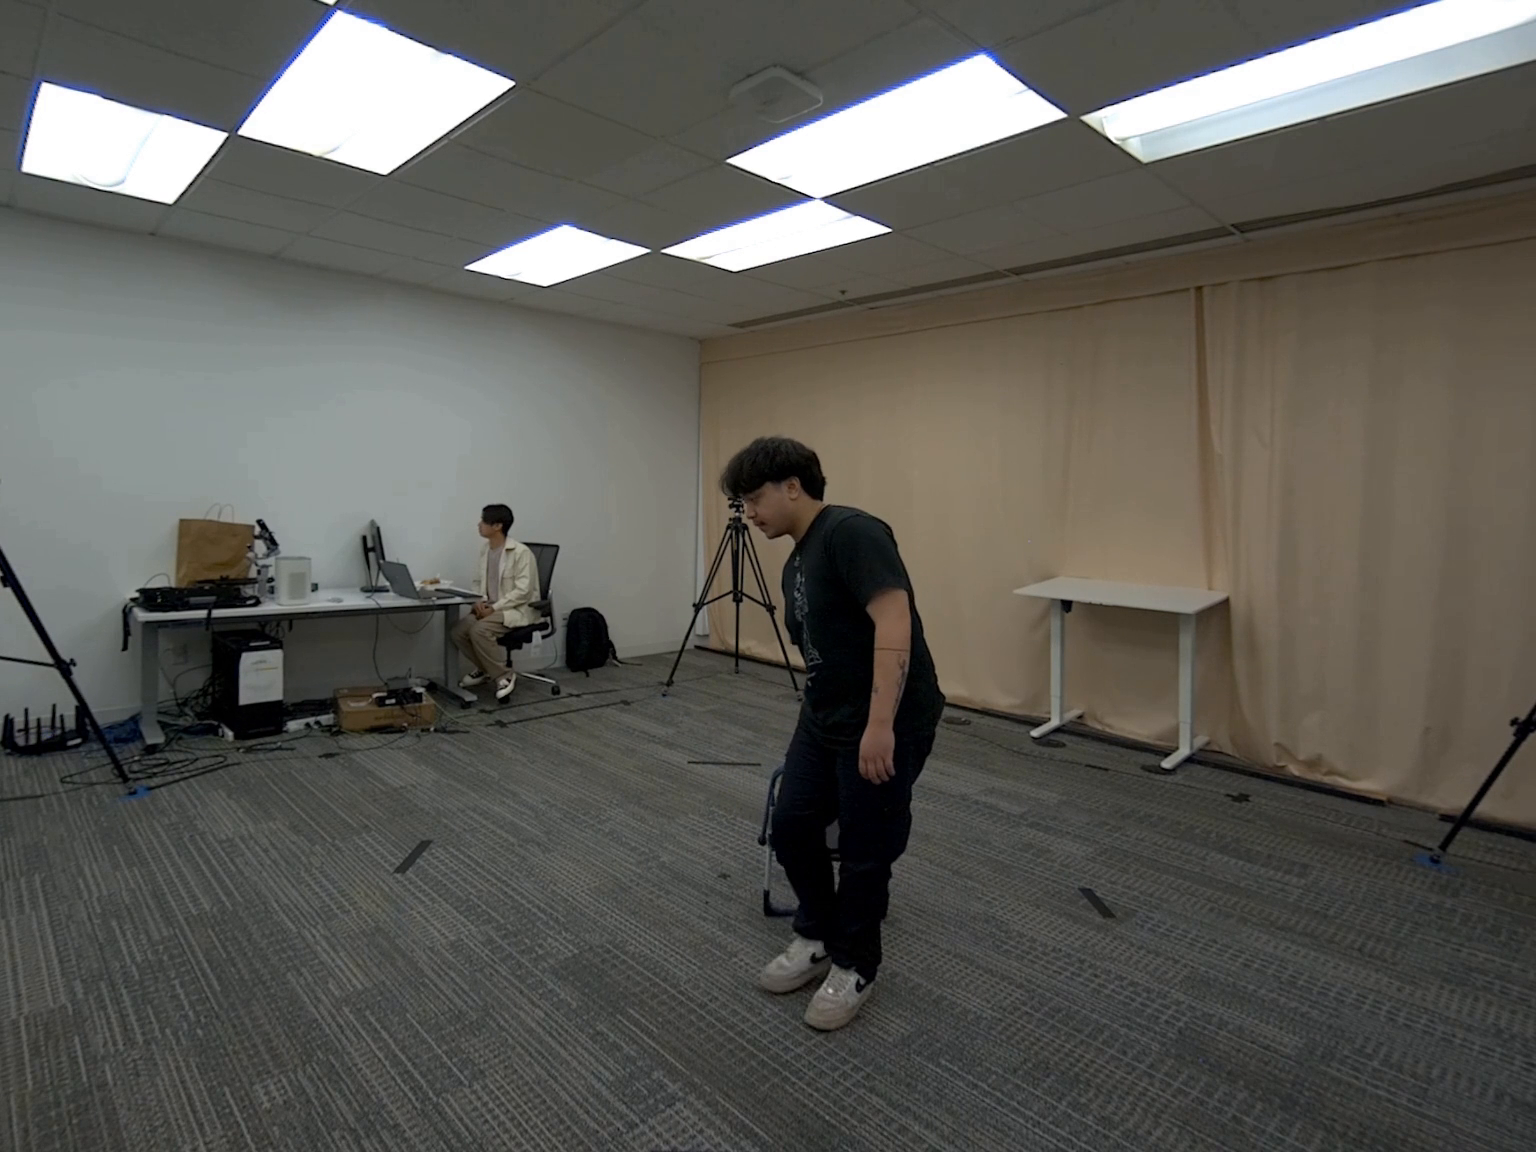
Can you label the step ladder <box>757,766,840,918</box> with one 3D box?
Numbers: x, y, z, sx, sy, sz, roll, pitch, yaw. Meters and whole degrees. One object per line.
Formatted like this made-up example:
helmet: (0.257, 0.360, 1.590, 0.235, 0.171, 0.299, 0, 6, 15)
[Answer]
step ladder: (0.197, 0.807, 2.813, 0.429, 0.595, 0.356, 0, 30, -4)
